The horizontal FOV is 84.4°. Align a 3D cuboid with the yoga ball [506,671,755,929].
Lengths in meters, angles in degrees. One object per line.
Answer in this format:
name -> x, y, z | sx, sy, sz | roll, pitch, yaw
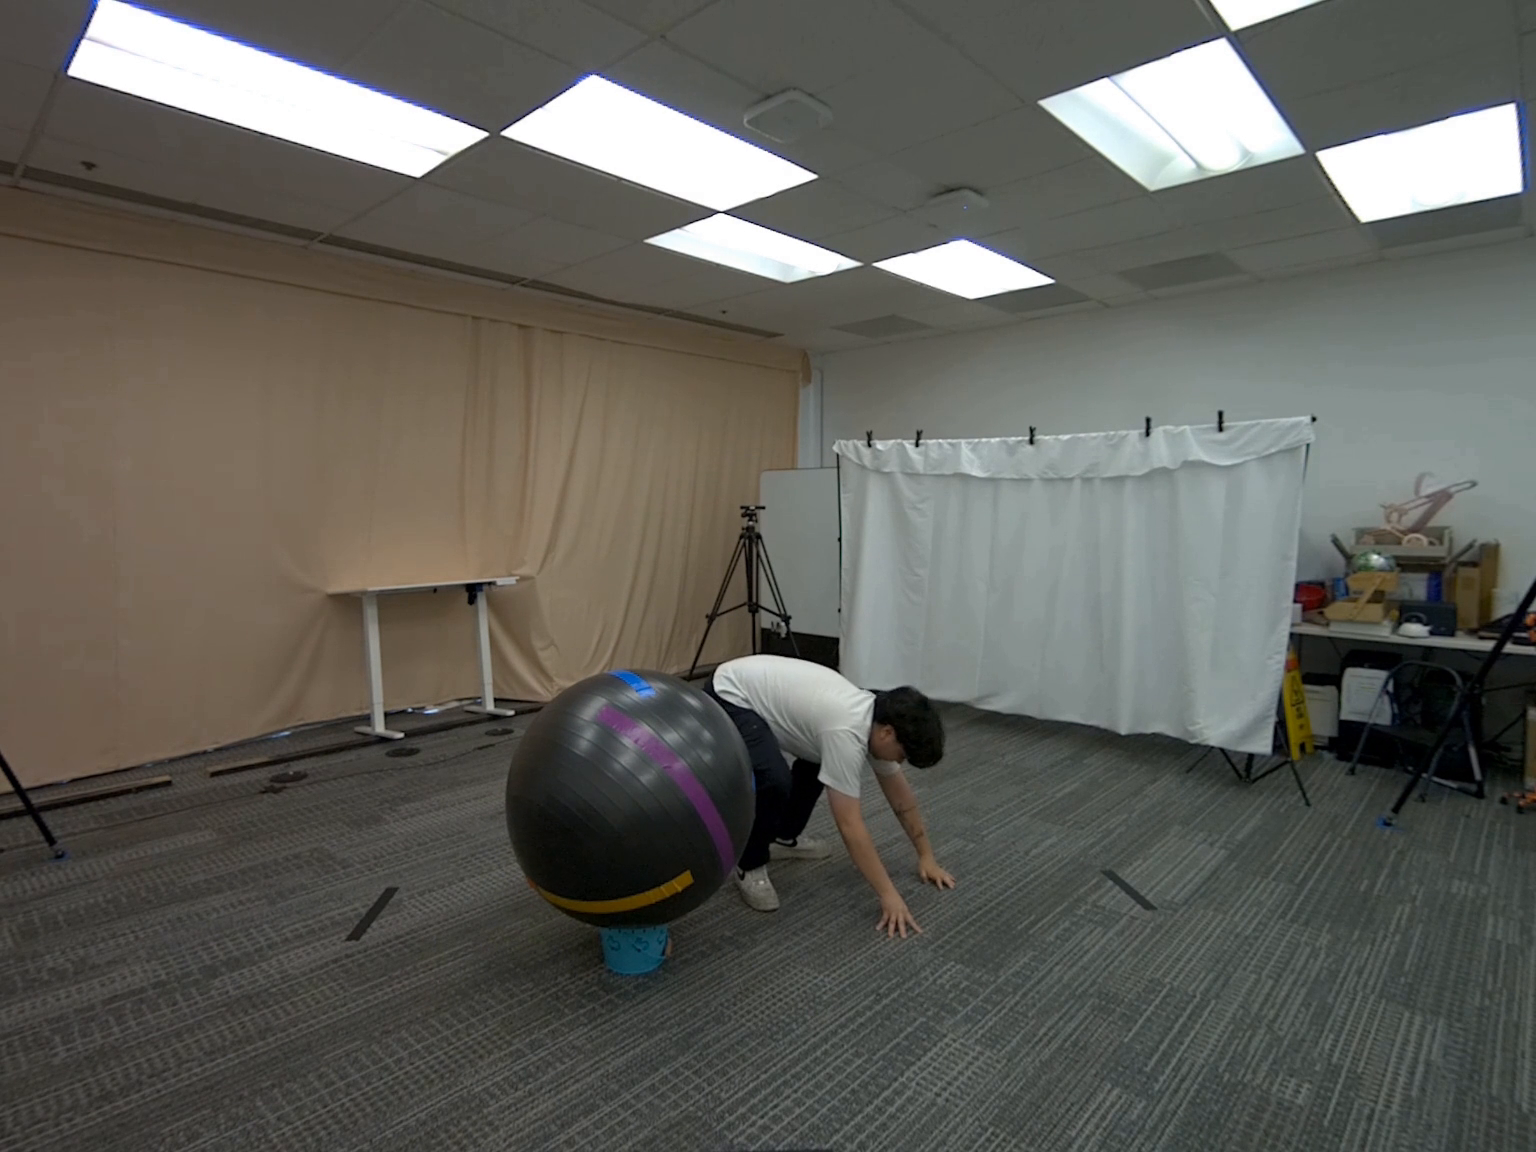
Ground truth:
yoga ball -> -0.414, 0.670, 2.583 | 0.757, 0.756, 0.760 | 0, 4, -2
